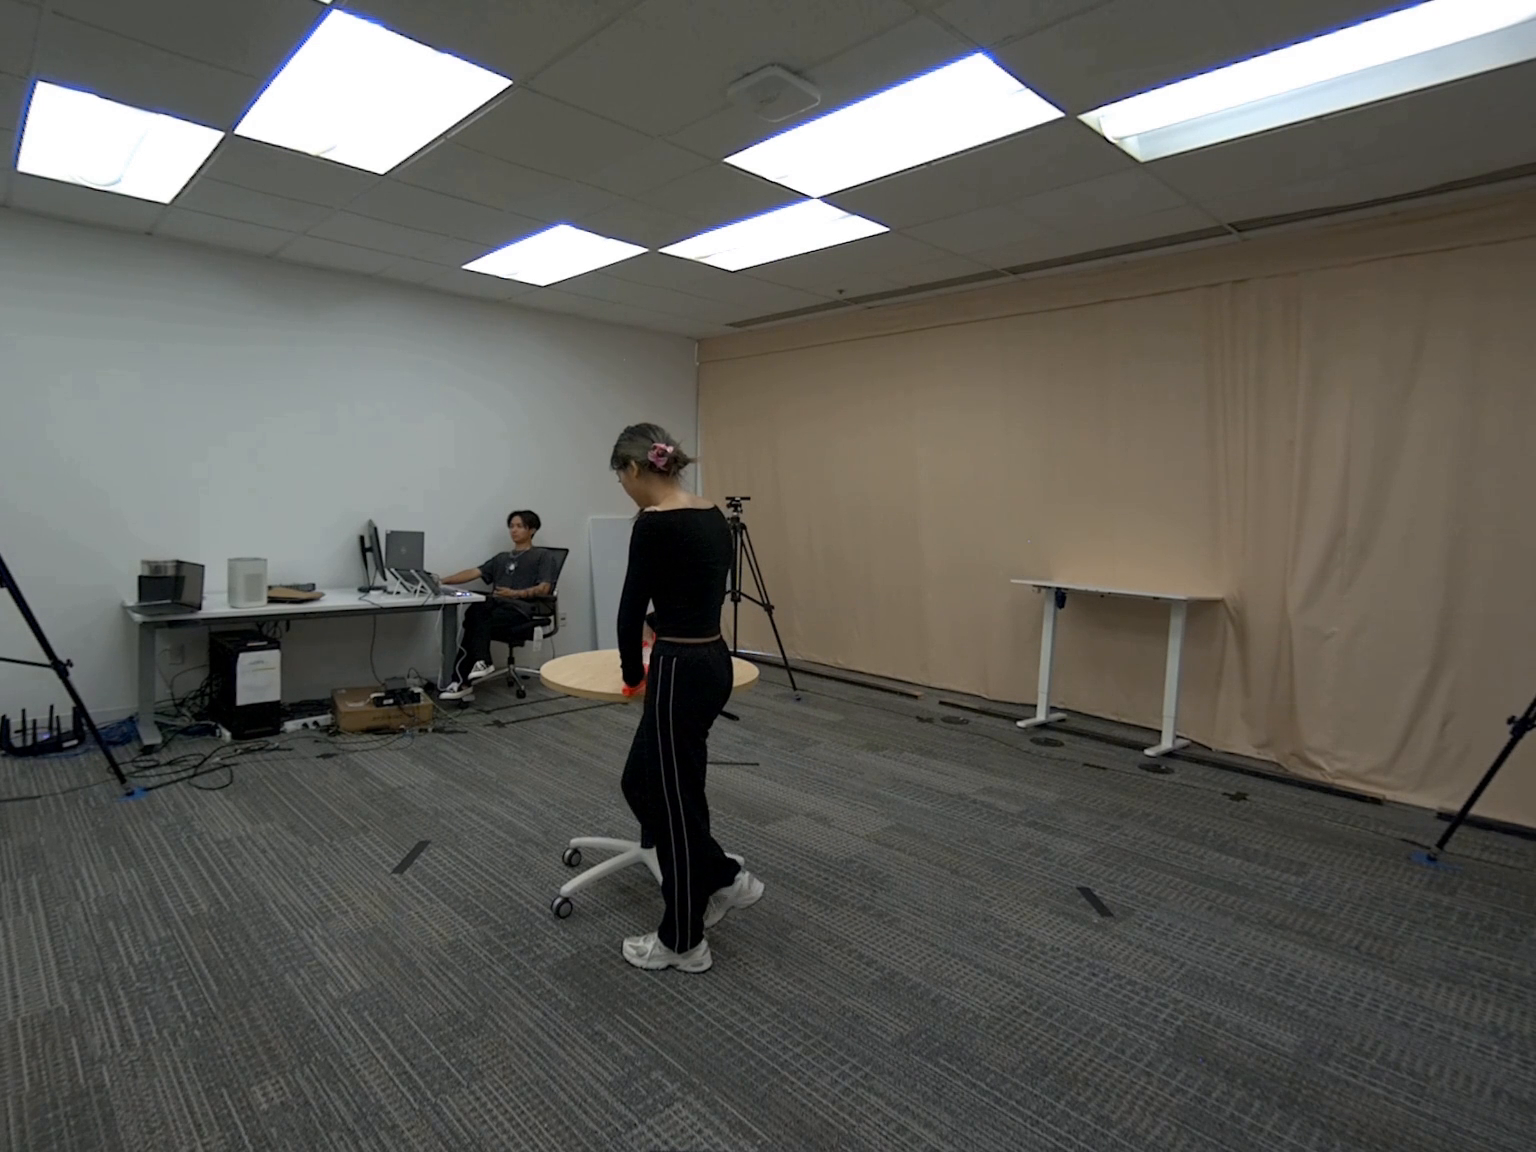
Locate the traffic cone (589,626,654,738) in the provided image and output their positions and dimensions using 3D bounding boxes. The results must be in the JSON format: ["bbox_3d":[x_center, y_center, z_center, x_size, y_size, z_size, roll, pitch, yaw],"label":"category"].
[{"bbox_3d":[-0.370,0.293,2.733,0.206,0.201,0.386,-35,11,23],"label":"traffic cone"}]
